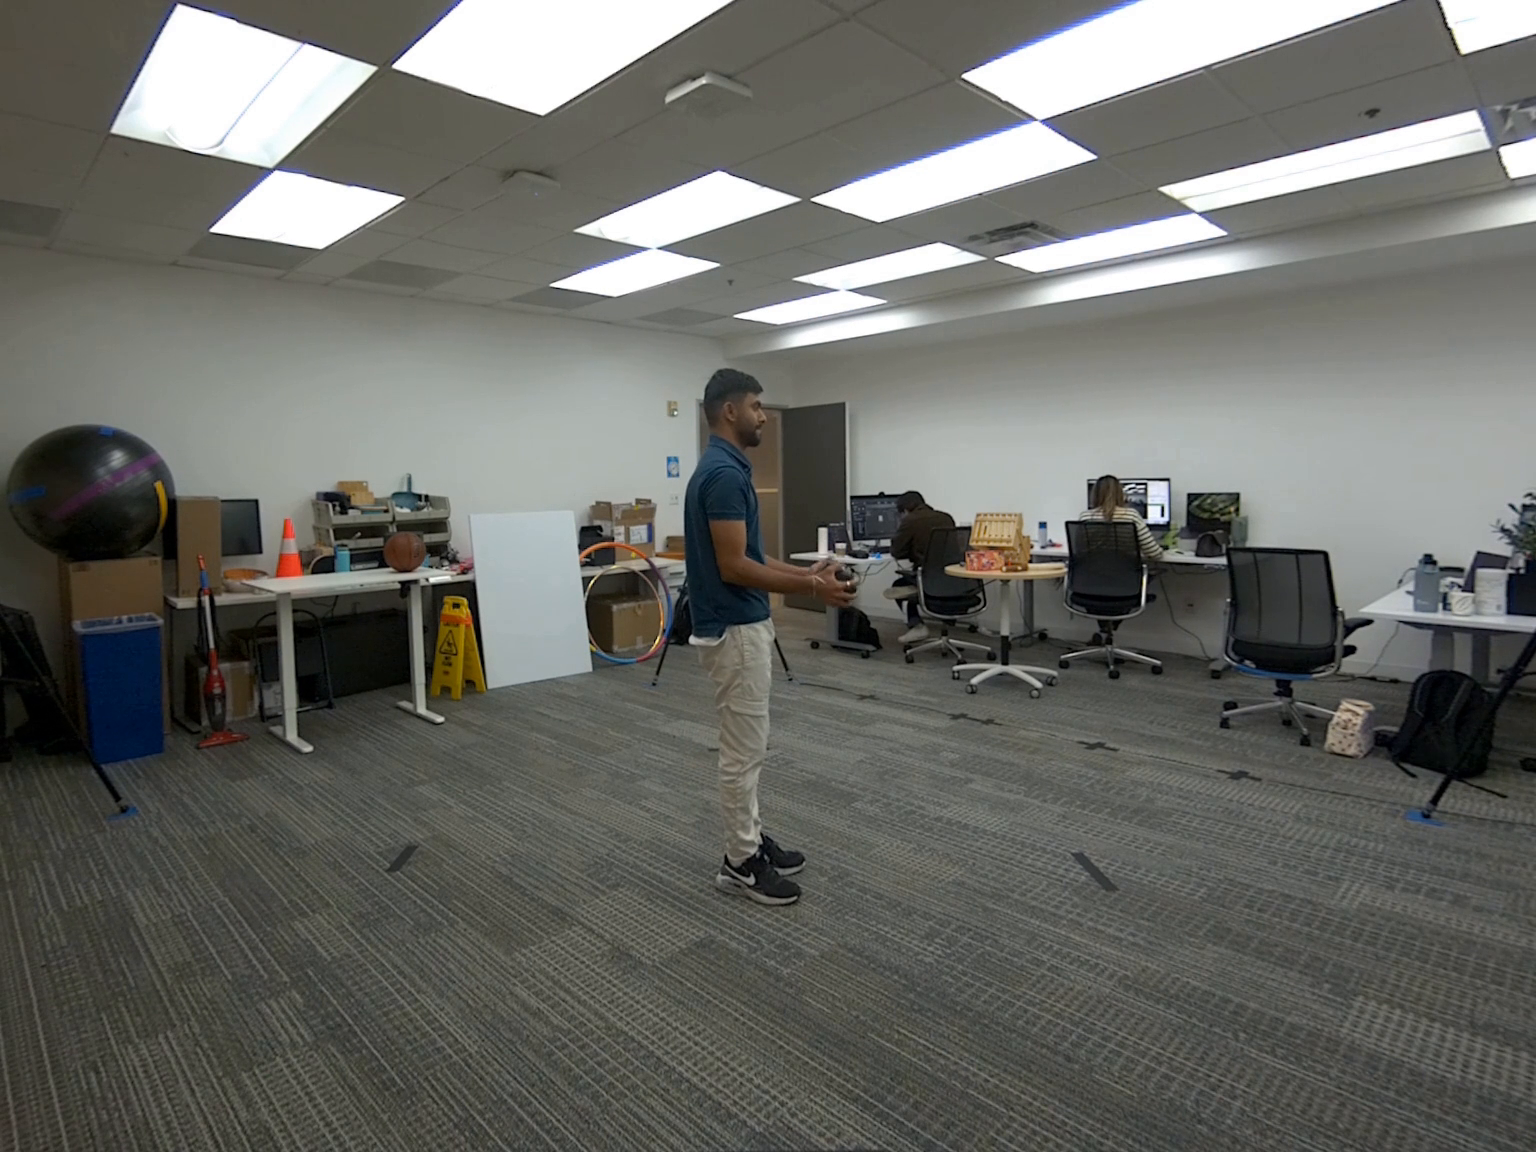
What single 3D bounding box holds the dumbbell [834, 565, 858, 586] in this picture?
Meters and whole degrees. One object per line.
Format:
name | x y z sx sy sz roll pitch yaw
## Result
dumbbell | 0.194 0.009 2.858 0.109 0.122 0.294 -14 6 2
